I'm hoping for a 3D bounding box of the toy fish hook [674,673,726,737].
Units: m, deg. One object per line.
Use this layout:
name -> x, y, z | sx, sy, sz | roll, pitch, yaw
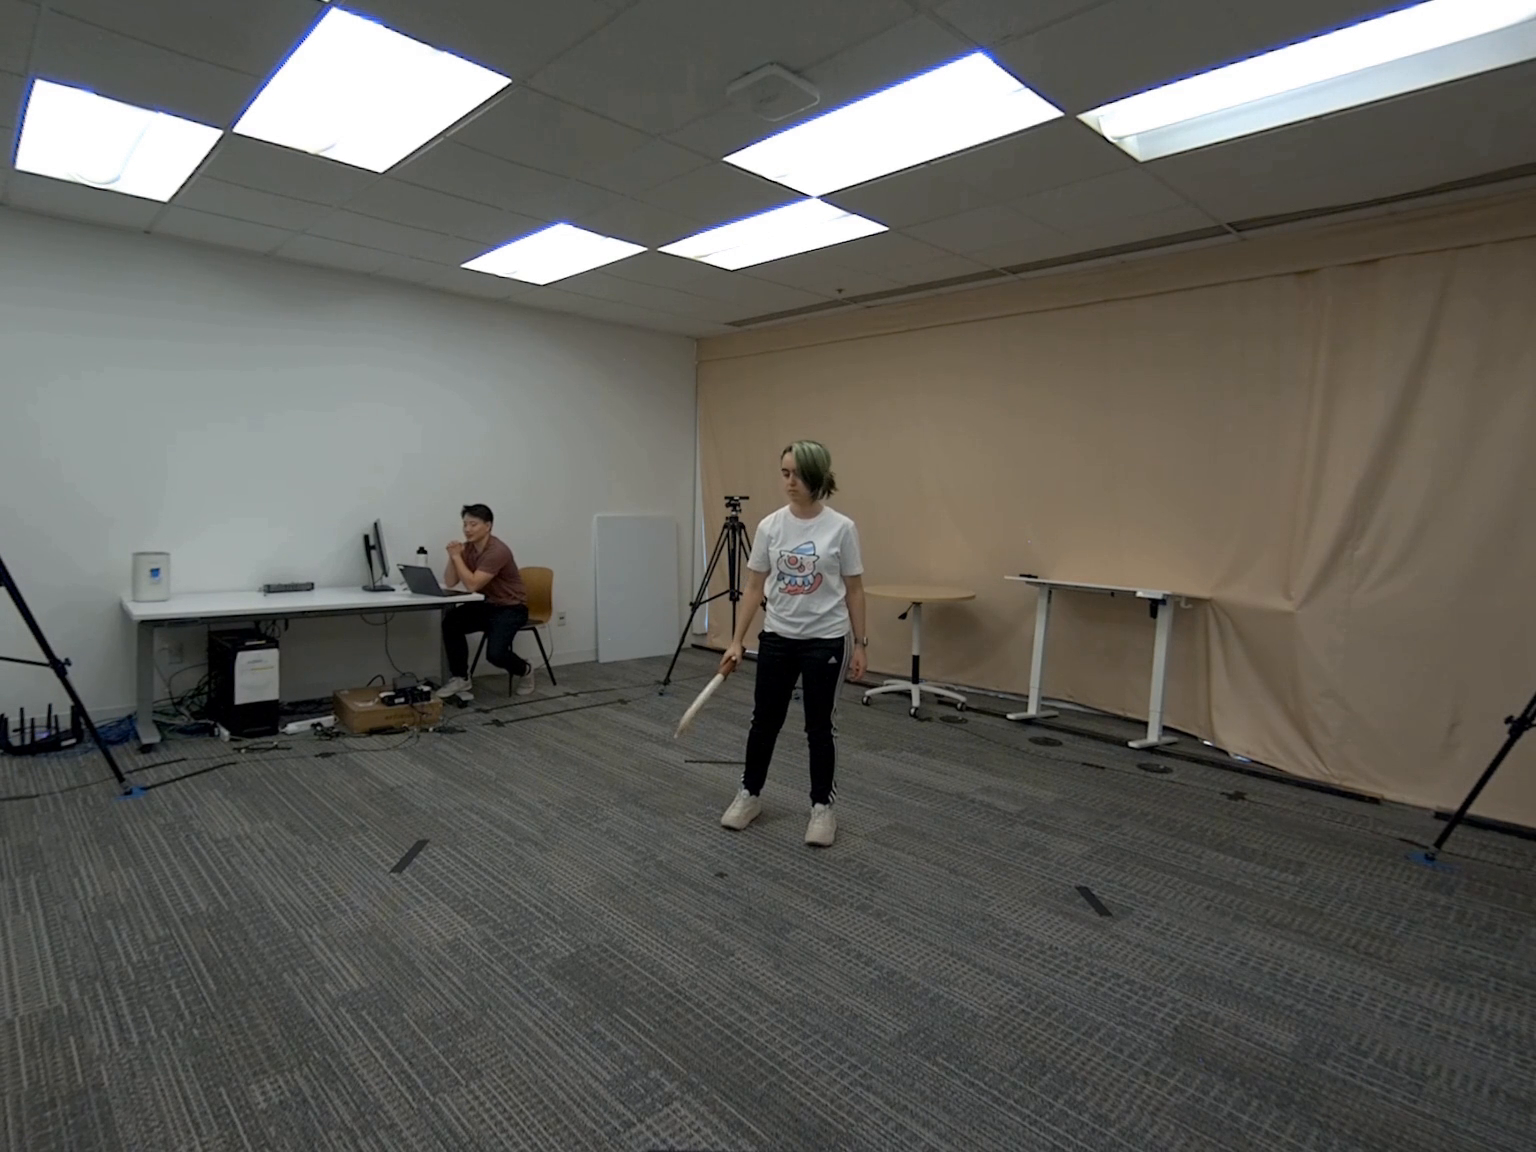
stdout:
toy fish hook -> -0.248, 0.467, 3.456 | 0.048, 0.223, 0.507 | 38, 43, 2
